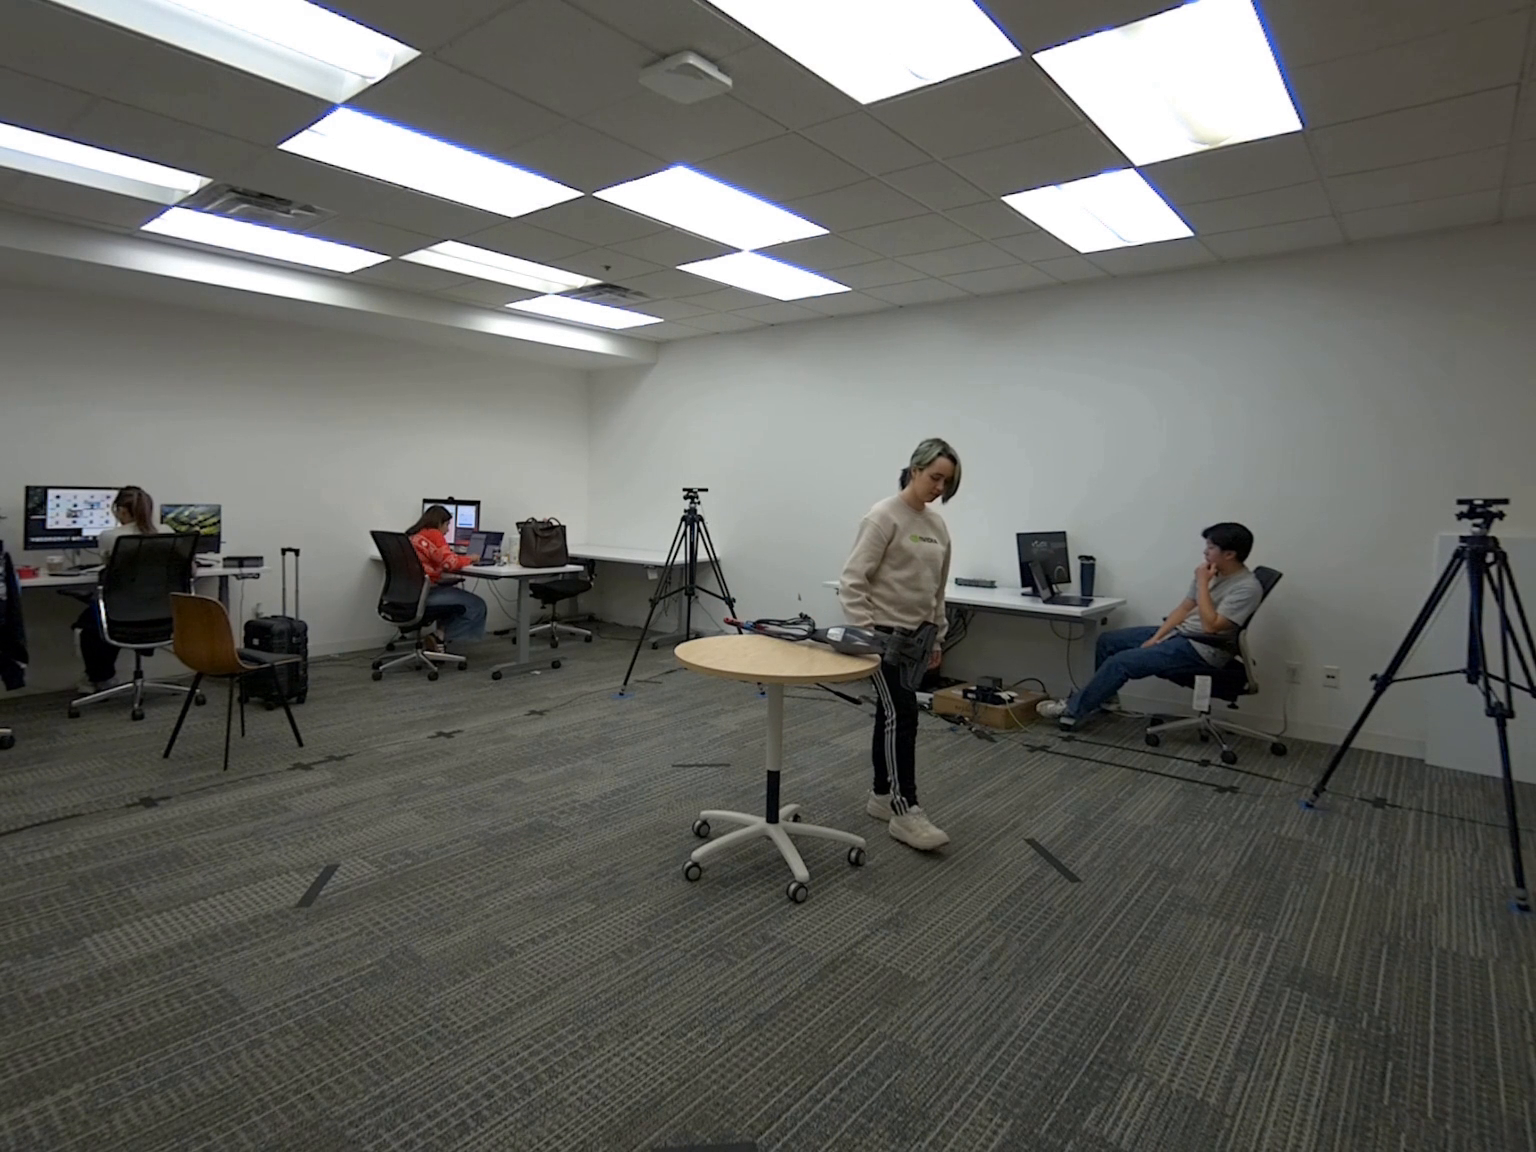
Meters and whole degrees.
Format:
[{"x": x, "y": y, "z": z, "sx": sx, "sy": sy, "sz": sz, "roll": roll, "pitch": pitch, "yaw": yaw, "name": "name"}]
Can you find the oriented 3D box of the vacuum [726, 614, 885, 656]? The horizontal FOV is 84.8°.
[{"x": 0.156, "y": 0.235, "z": 3.386, "sx": 0.138, "sy": 0.254, "sz": 1.083, "roll": 37, "pitch": -19, "yaw": -33, "name": "vacuum"}]
